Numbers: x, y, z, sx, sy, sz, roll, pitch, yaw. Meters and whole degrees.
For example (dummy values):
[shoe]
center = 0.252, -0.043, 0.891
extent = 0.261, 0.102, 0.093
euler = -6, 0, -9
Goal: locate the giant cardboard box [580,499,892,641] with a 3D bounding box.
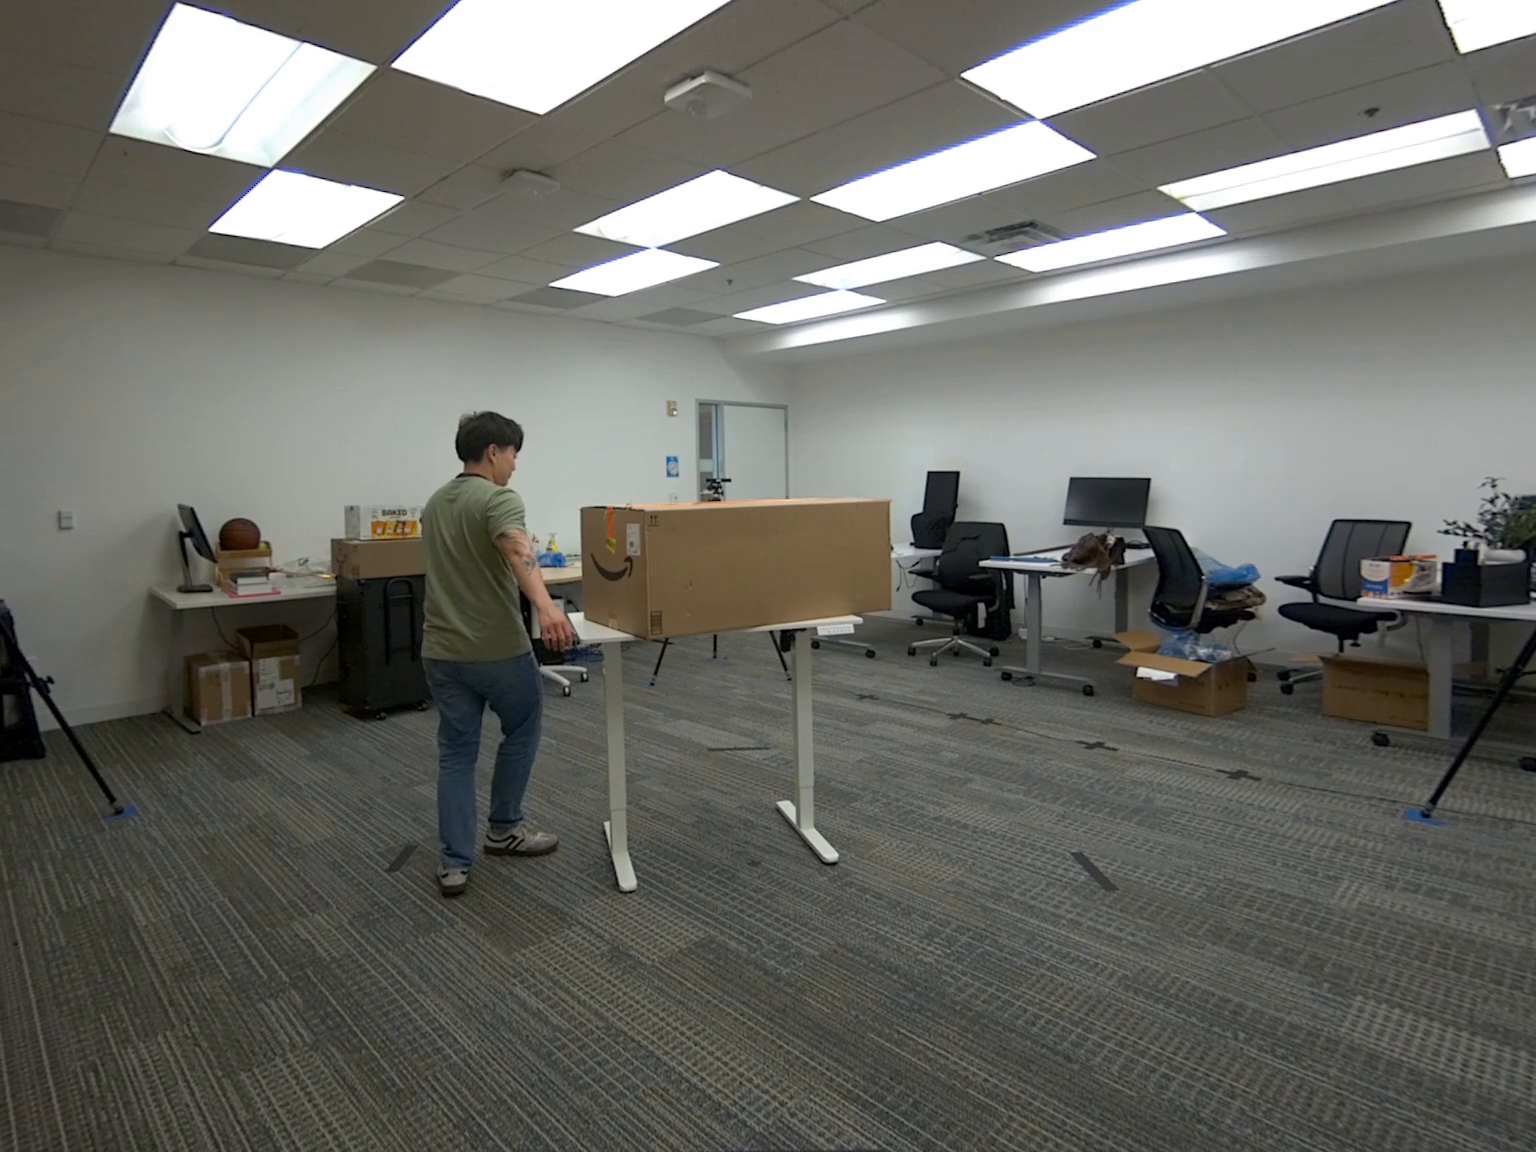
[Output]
[giant cardboard box]
center = -0.114, -0.064, 3.228
extent = 1.002, 0.424, 0.594
euler = -5, 6, -31
